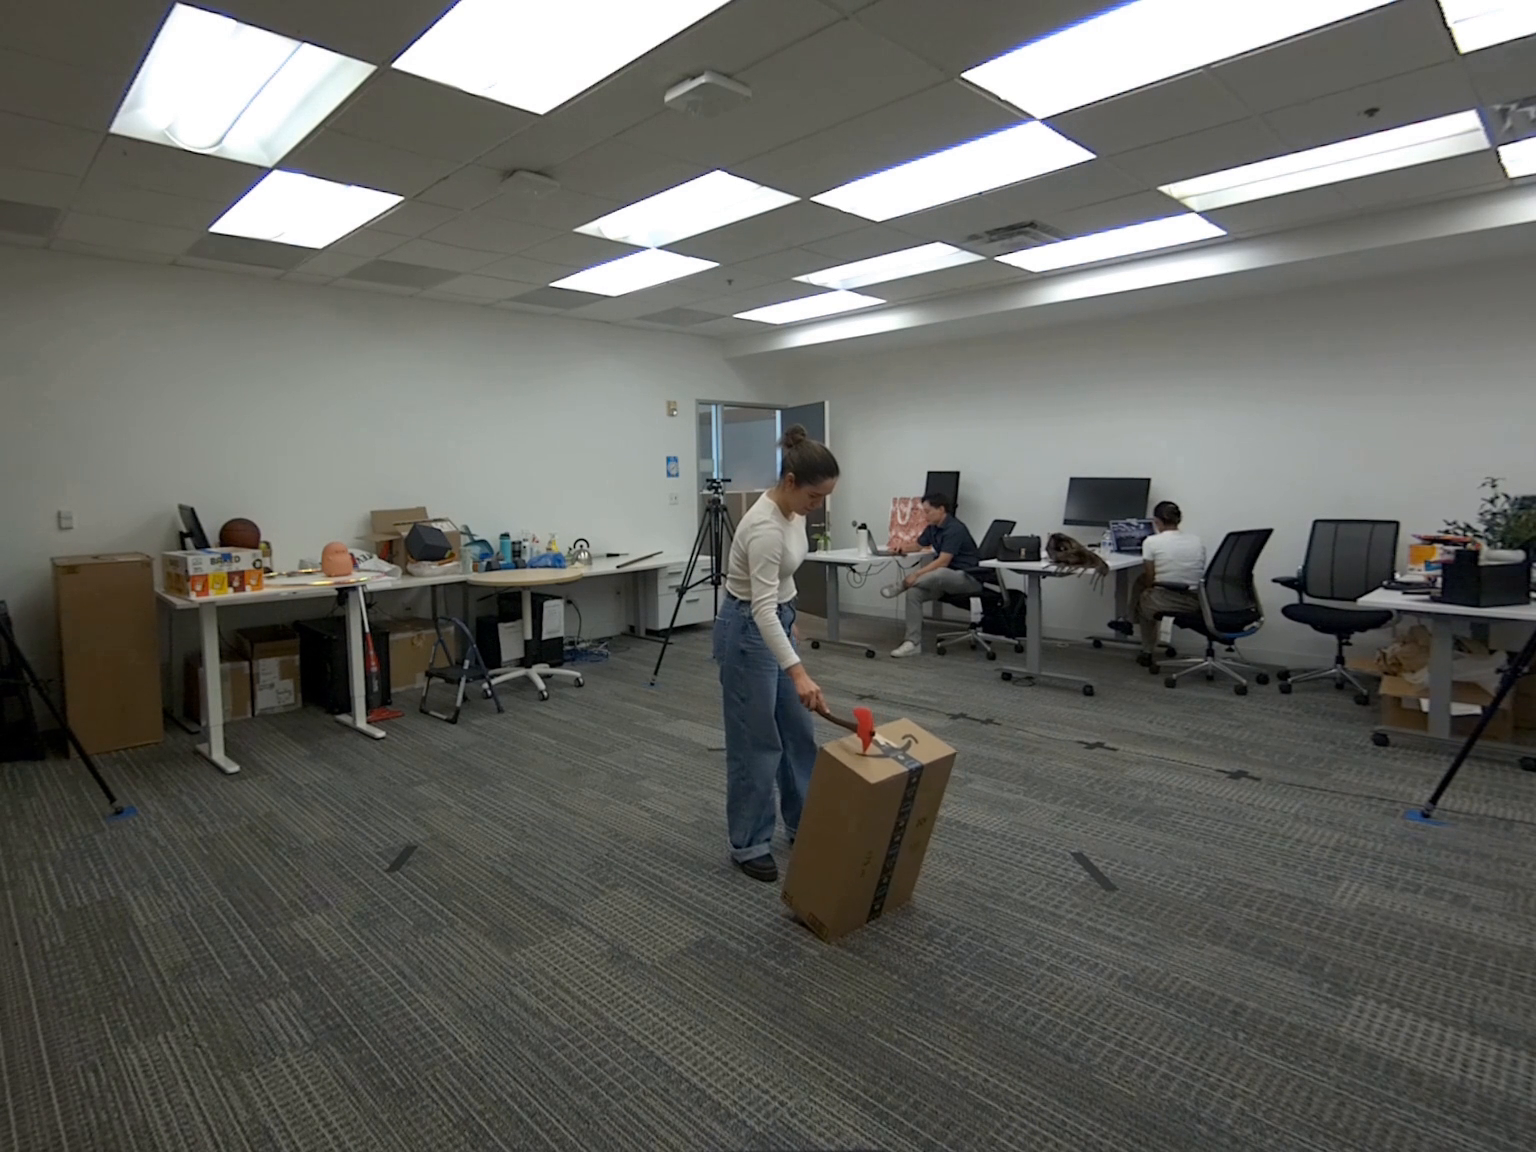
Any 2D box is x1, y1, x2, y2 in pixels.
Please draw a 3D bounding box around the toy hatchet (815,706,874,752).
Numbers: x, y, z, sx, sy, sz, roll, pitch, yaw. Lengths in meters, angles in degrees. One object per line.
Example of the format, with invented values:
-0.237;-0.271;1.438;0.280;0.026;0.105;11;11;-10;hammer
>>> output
0.225;0.414;2.615;0.029;0.129;0.280;-8;33;-45;toy hatchet
